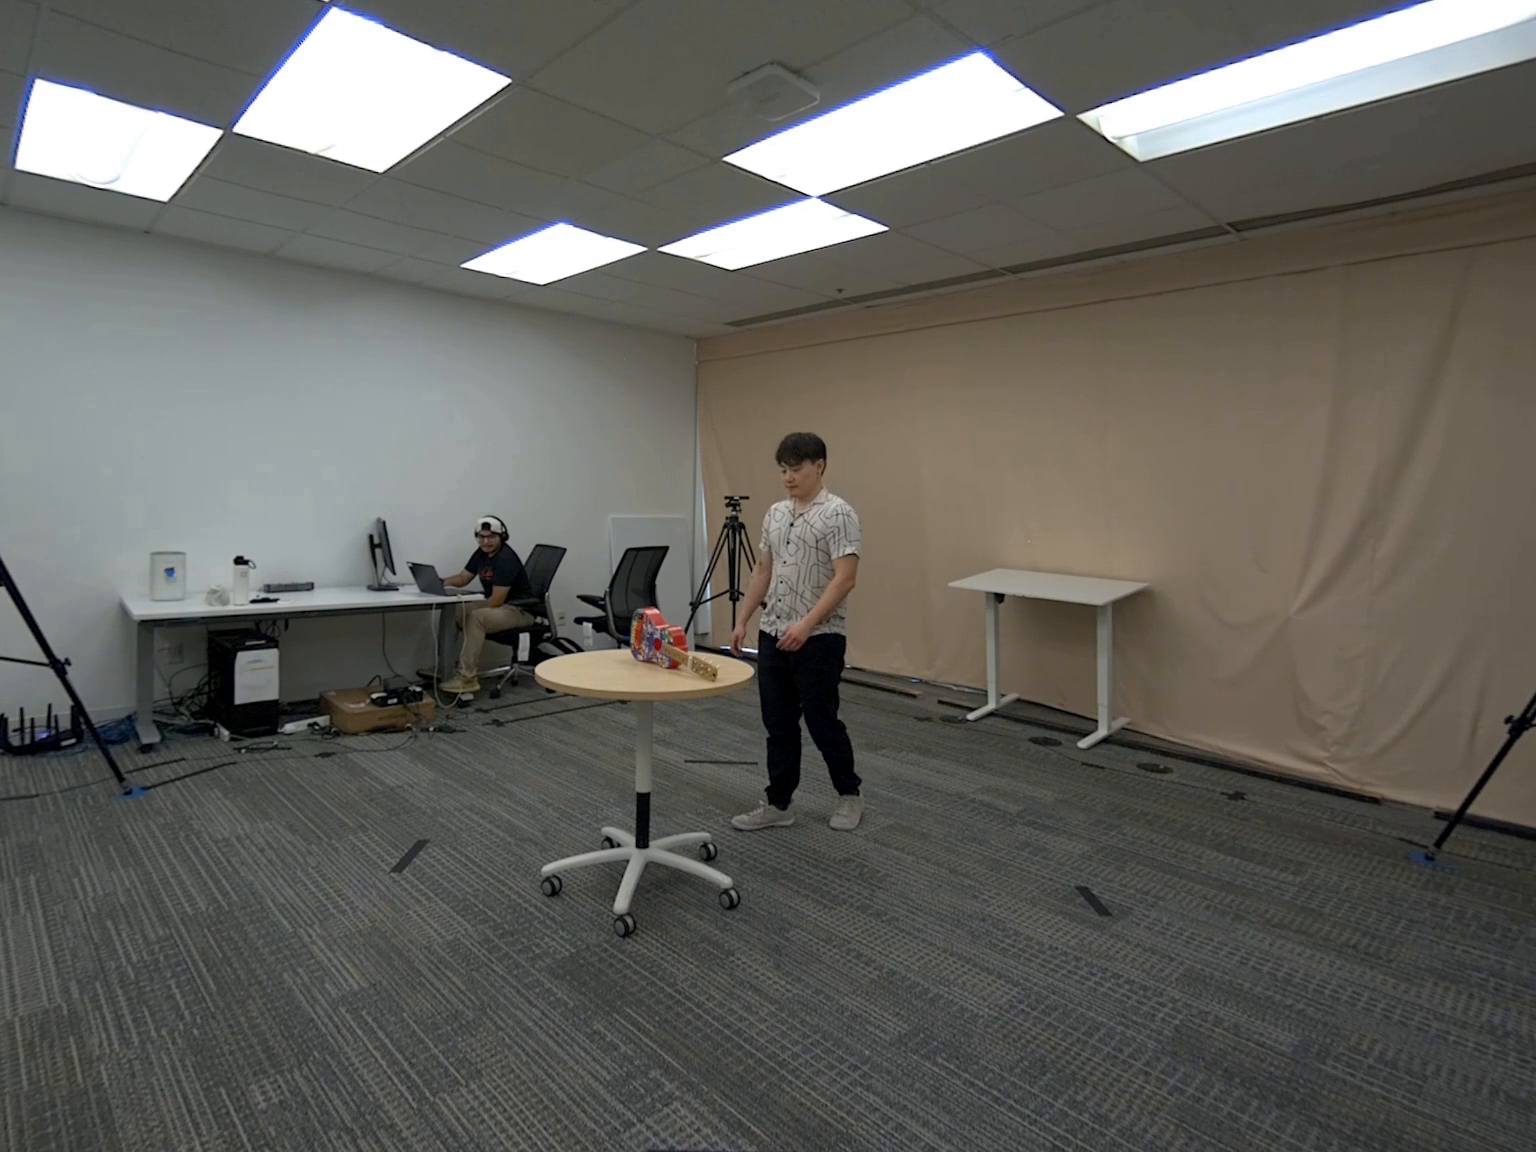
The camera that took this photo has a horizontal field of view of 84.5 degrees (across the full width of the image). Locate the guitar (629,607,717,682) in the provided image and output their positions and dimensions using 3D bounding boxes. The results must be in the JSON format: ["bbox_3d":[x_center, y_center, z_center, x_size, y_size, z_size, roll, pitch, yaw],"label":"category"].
[{"bbox_3d":[-0.335,0.288,2.964,0.069,0.191,0.514,-2,24,-42],"label":"guitar"}]
